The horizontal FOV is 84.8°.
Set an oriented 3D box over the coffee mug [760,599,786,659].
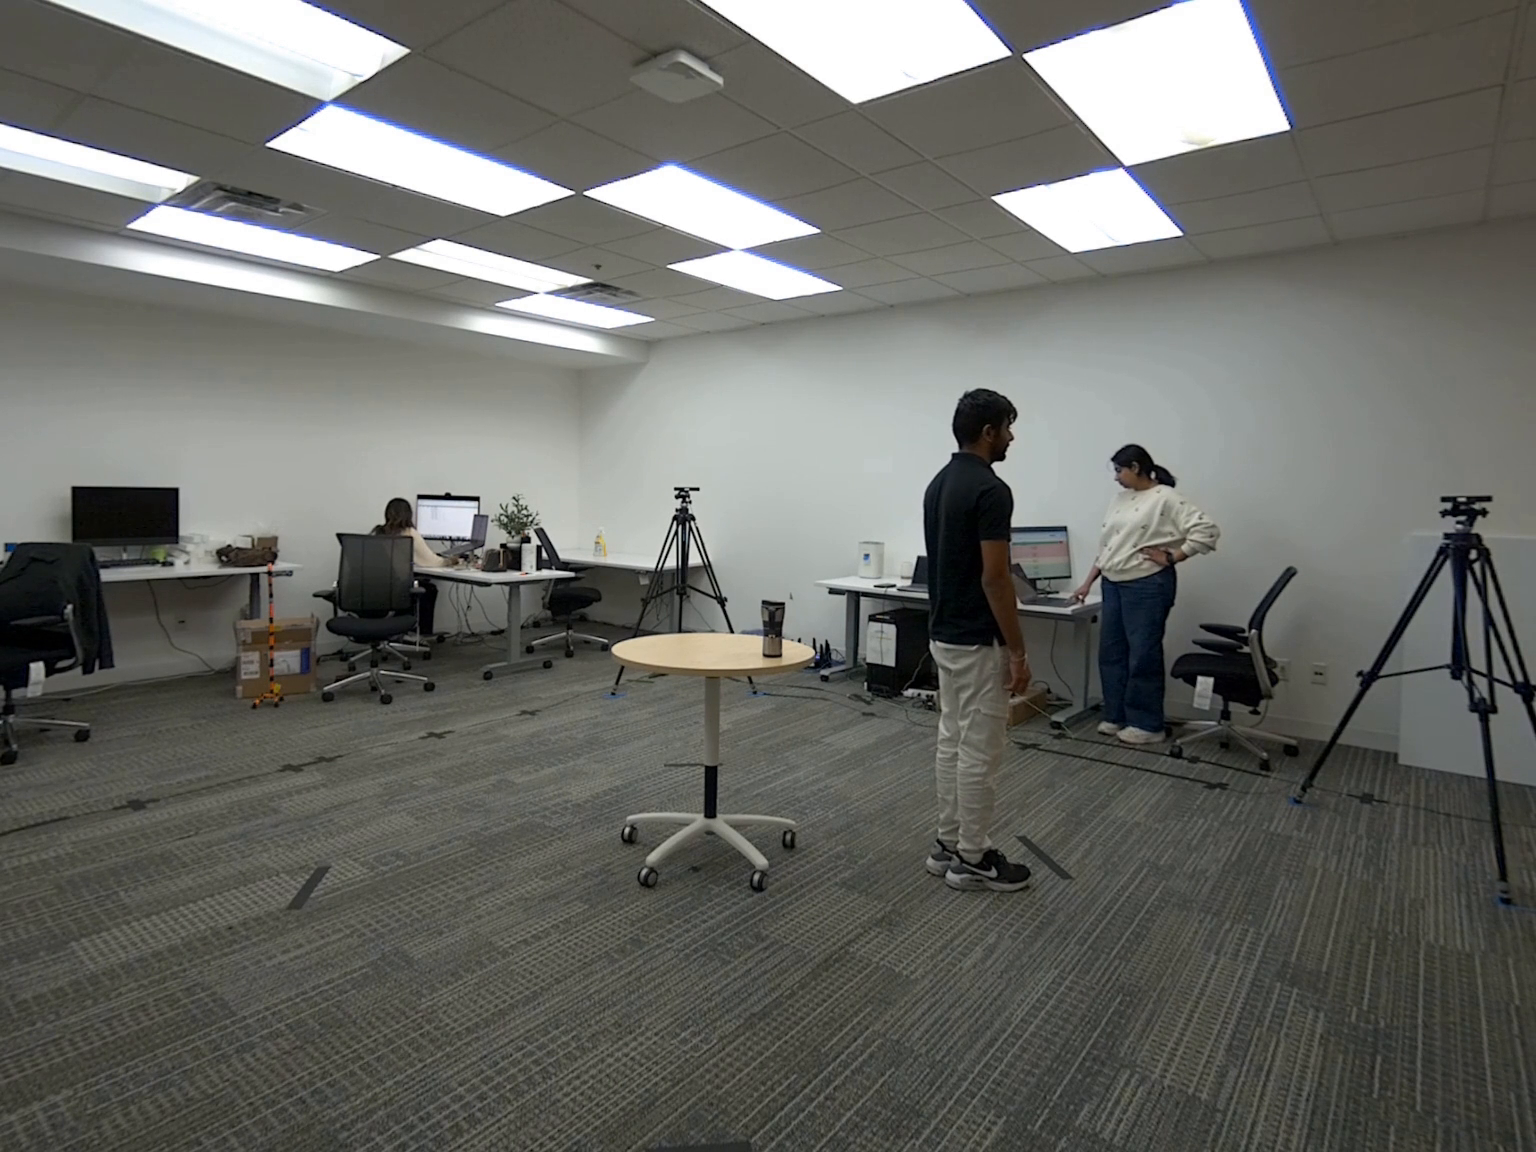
[{"bbox_3d":[0.000,0.189,3.064,0.090,0.203,0.119,5,0,22],"label":"coffee mug"}]
